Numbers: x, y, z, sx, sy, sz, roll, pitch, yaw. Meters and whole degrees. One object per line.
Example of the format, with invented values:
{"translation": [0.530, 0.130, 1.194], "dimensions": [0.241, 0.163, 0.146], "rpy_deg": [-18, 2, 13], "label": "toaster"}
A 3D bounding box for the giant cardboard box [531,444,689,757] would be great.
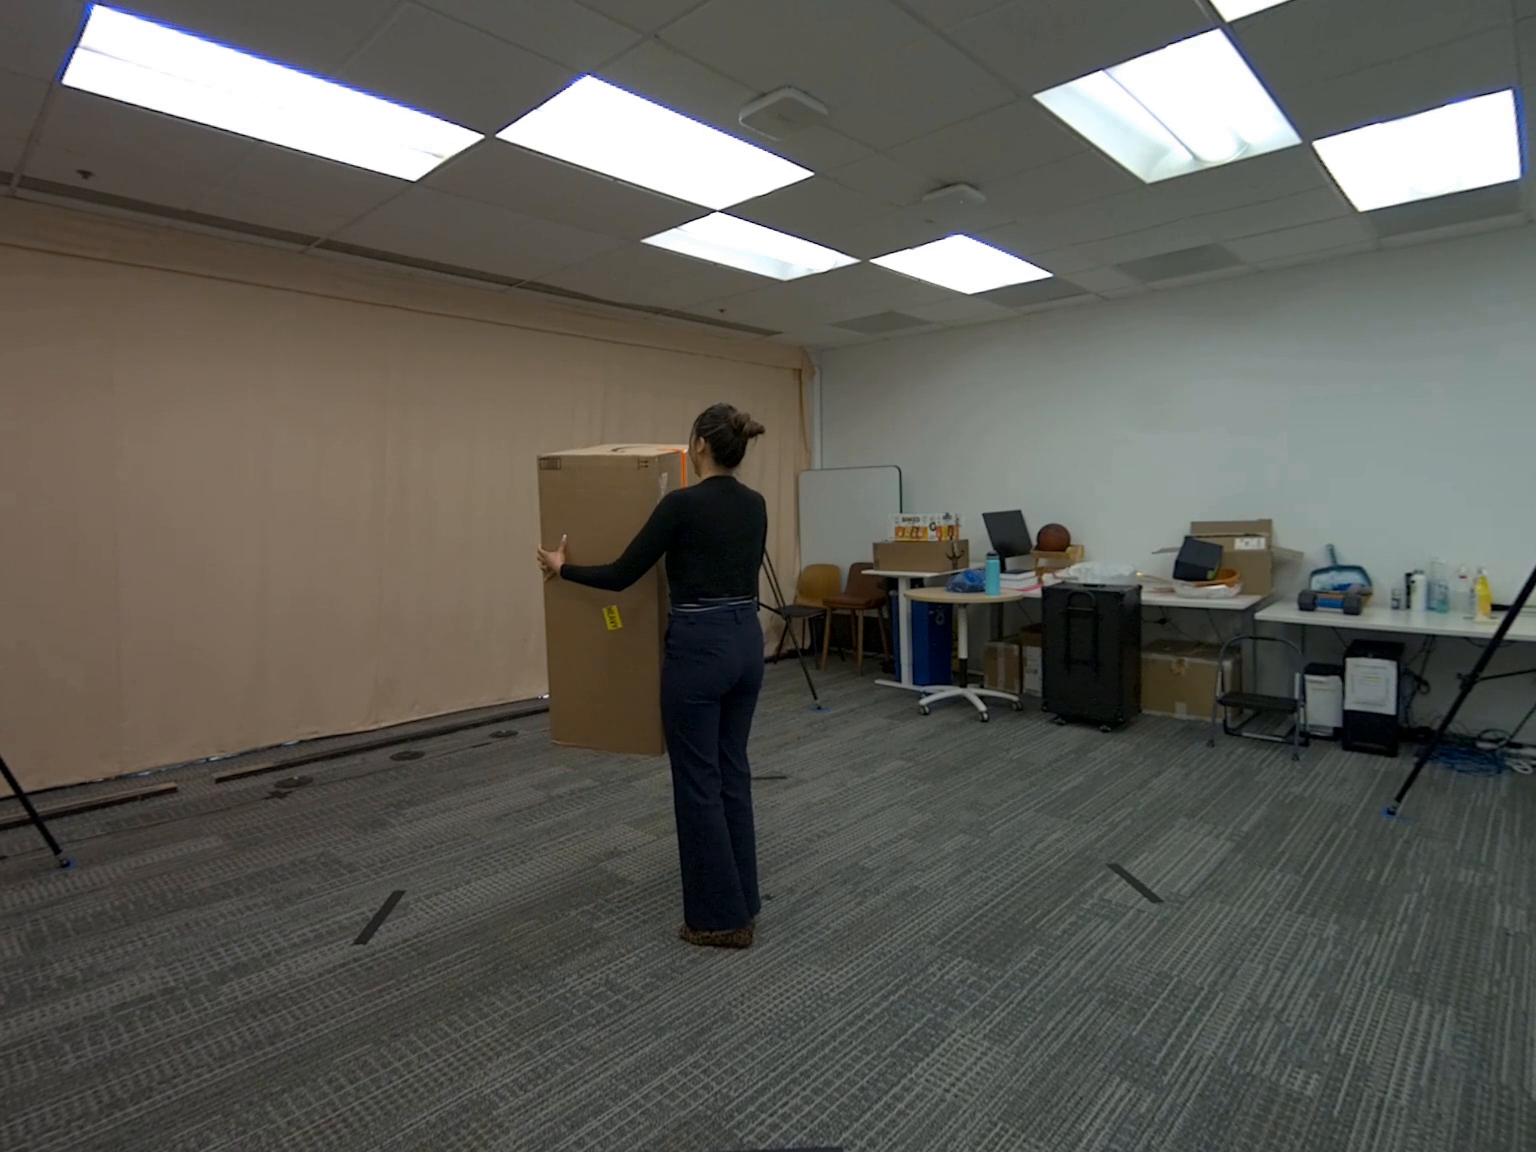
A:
{"translation": [-0.508, 0.047, 3.098], "dimensions": [0.433, 1.019, 0.572], "rpy_deg": [2, 10, 13], "label": "giant cardboard box"}
